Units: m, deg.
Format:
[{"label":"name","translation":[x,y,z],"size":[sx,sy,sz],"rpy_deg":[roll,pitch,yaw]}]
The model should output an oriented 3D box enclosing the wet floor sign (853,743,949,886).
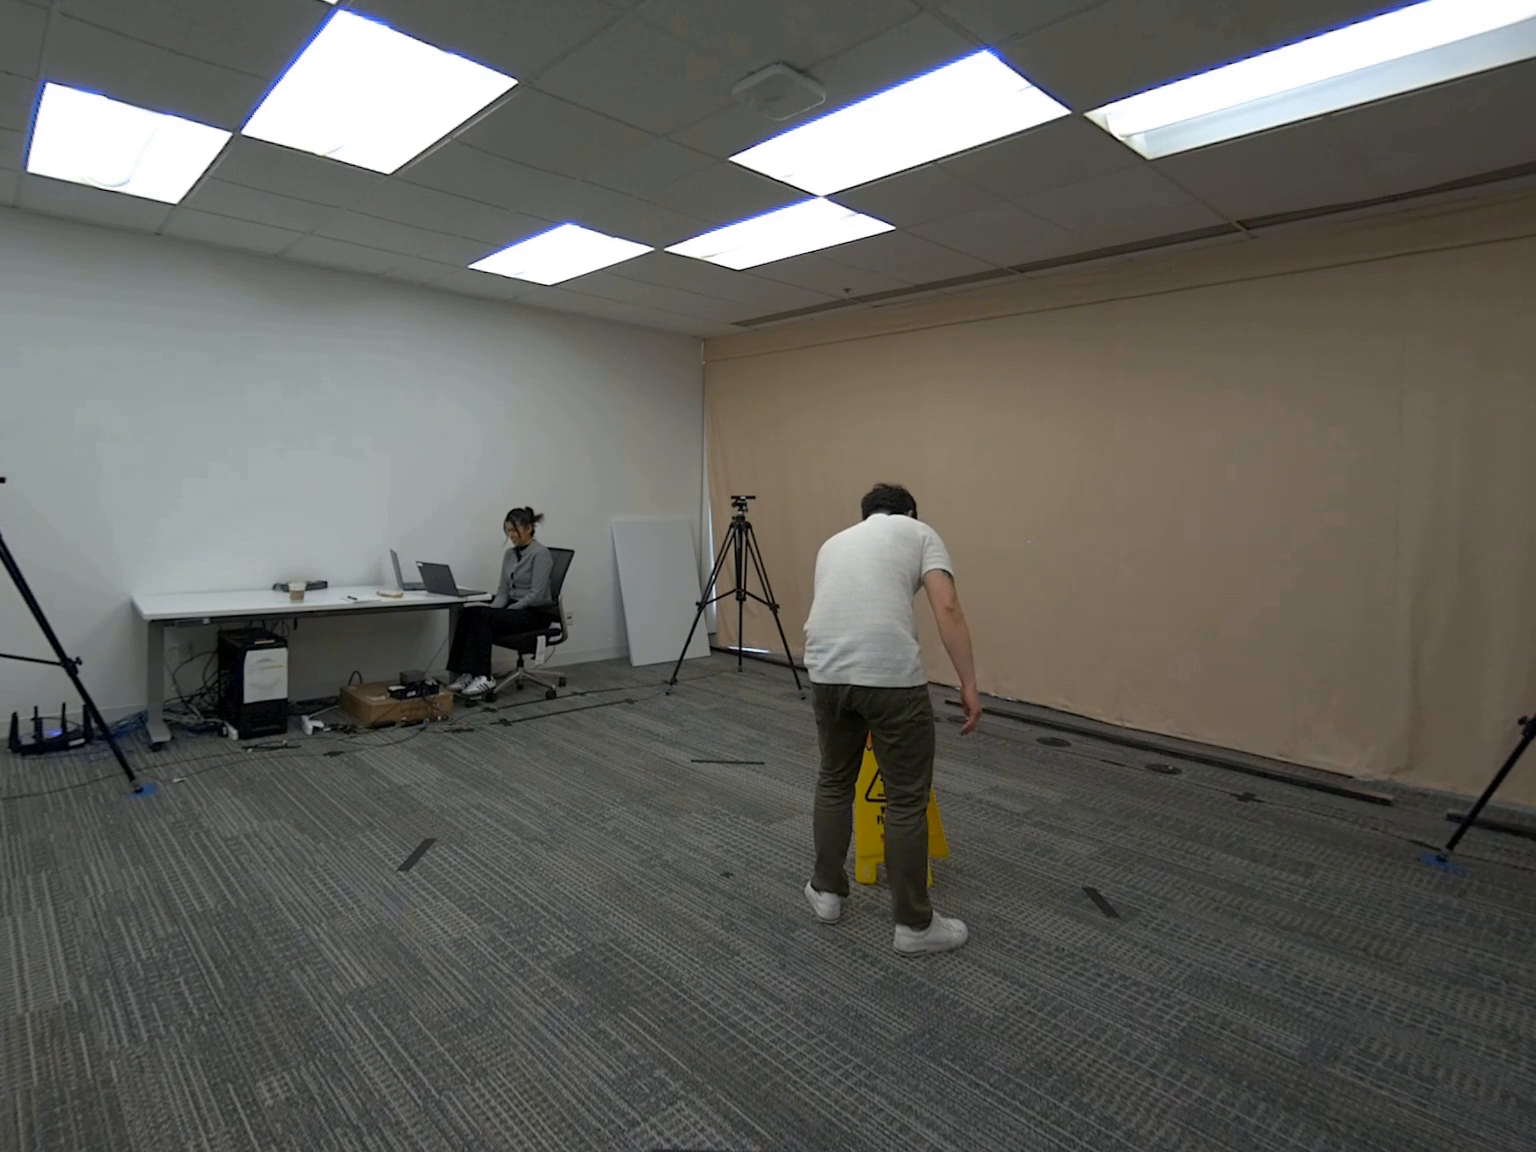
[{"label":"wet floor sign","translation":[0.466,0.779,3.149],"size":[0.287,0.647,0.284],"rpy_deg":[-6,-1,27]}]
